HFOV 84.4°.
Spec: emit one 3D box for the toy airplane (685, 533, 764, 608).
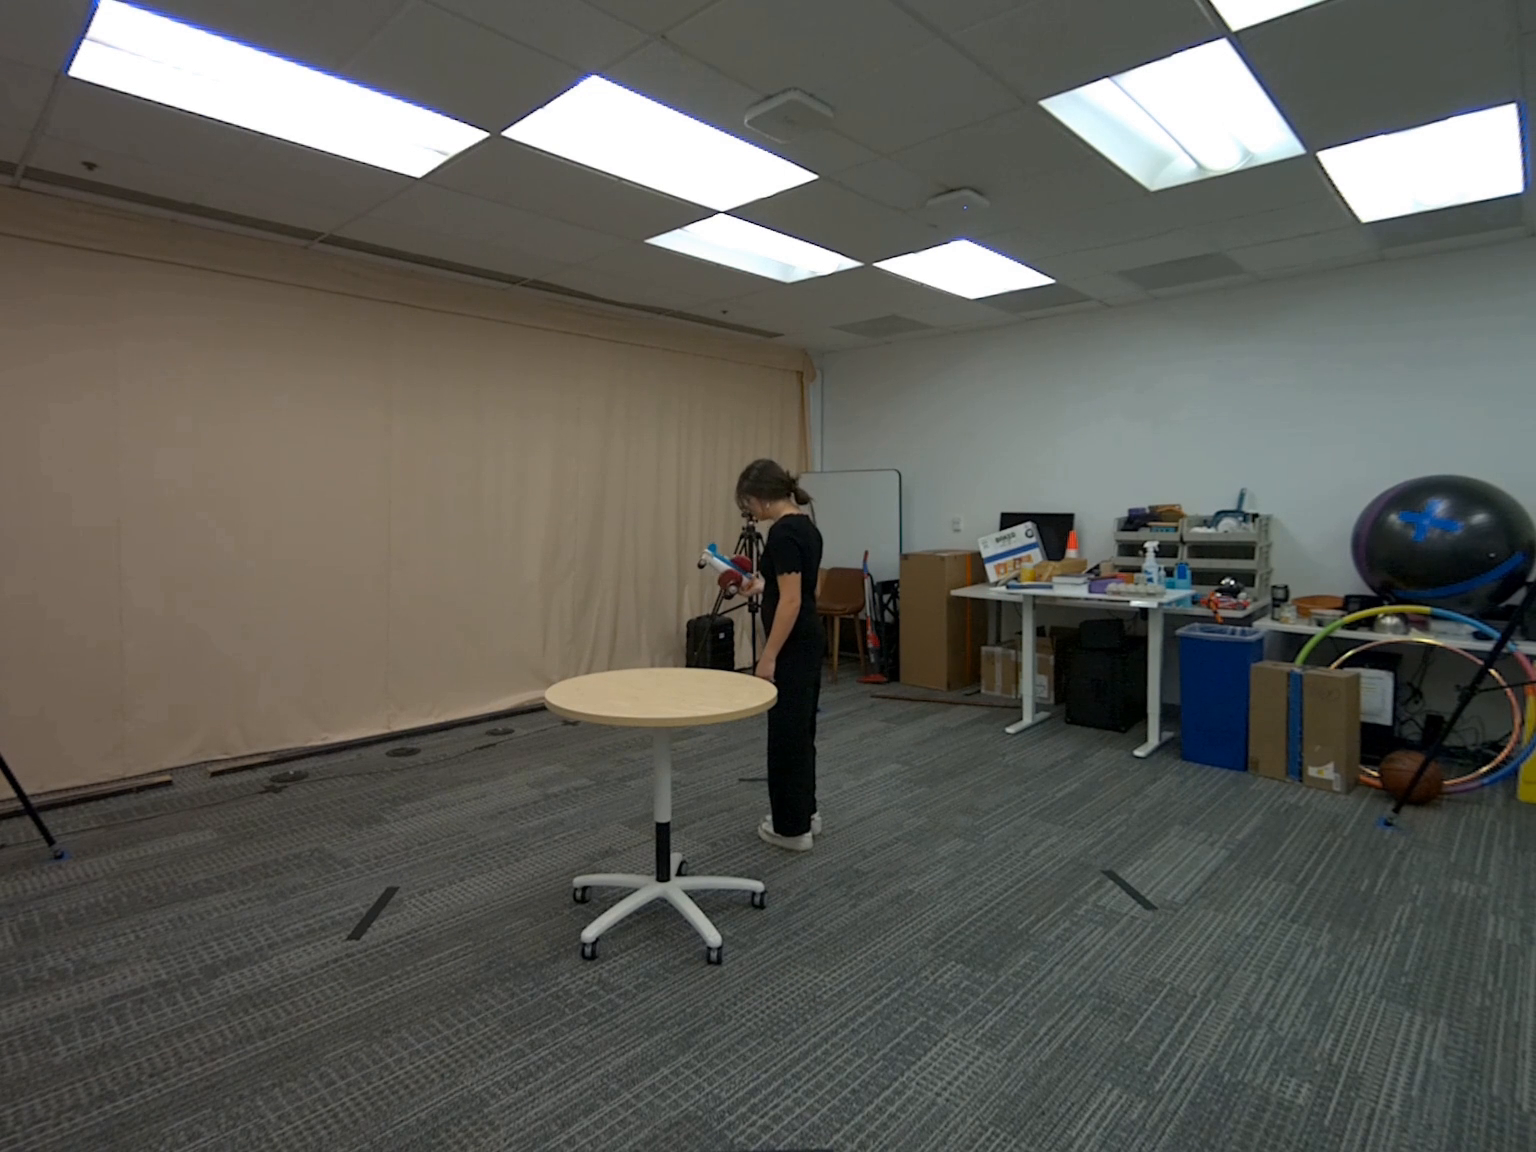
[{"bbox_3d":[-0.184,-0.029,3.725,0.155,0.253,0.259,-42,26,-22],"label":"toy airplane"}]
